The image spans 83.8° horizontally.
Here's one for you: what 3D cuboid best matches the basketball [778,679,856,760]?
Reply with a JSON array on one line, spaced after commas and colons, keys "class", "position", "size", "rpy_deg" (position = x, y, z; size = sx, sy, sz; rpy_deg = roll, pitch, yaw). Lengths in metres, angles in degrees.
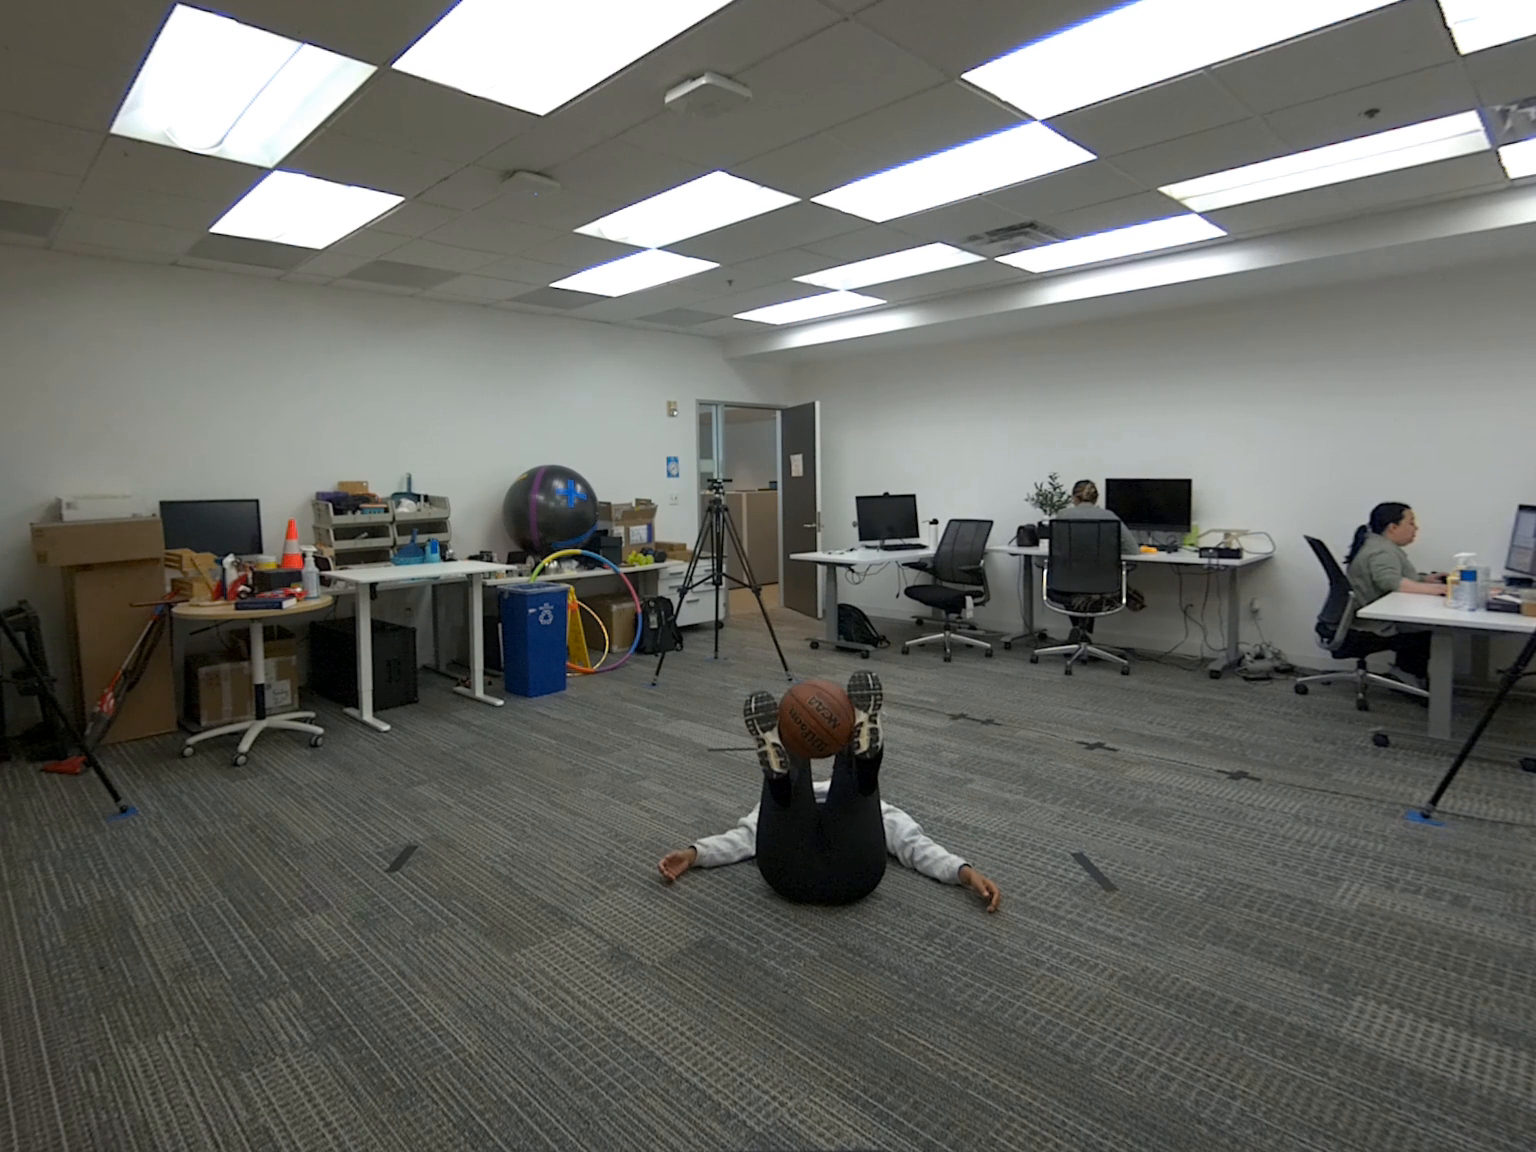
[{"class": "basketball", "position": [0.149, 0.429, 2.603], "size": [0.236, 0.235, 0.236], "rpy_deg": [-4, 2, -2]}]
